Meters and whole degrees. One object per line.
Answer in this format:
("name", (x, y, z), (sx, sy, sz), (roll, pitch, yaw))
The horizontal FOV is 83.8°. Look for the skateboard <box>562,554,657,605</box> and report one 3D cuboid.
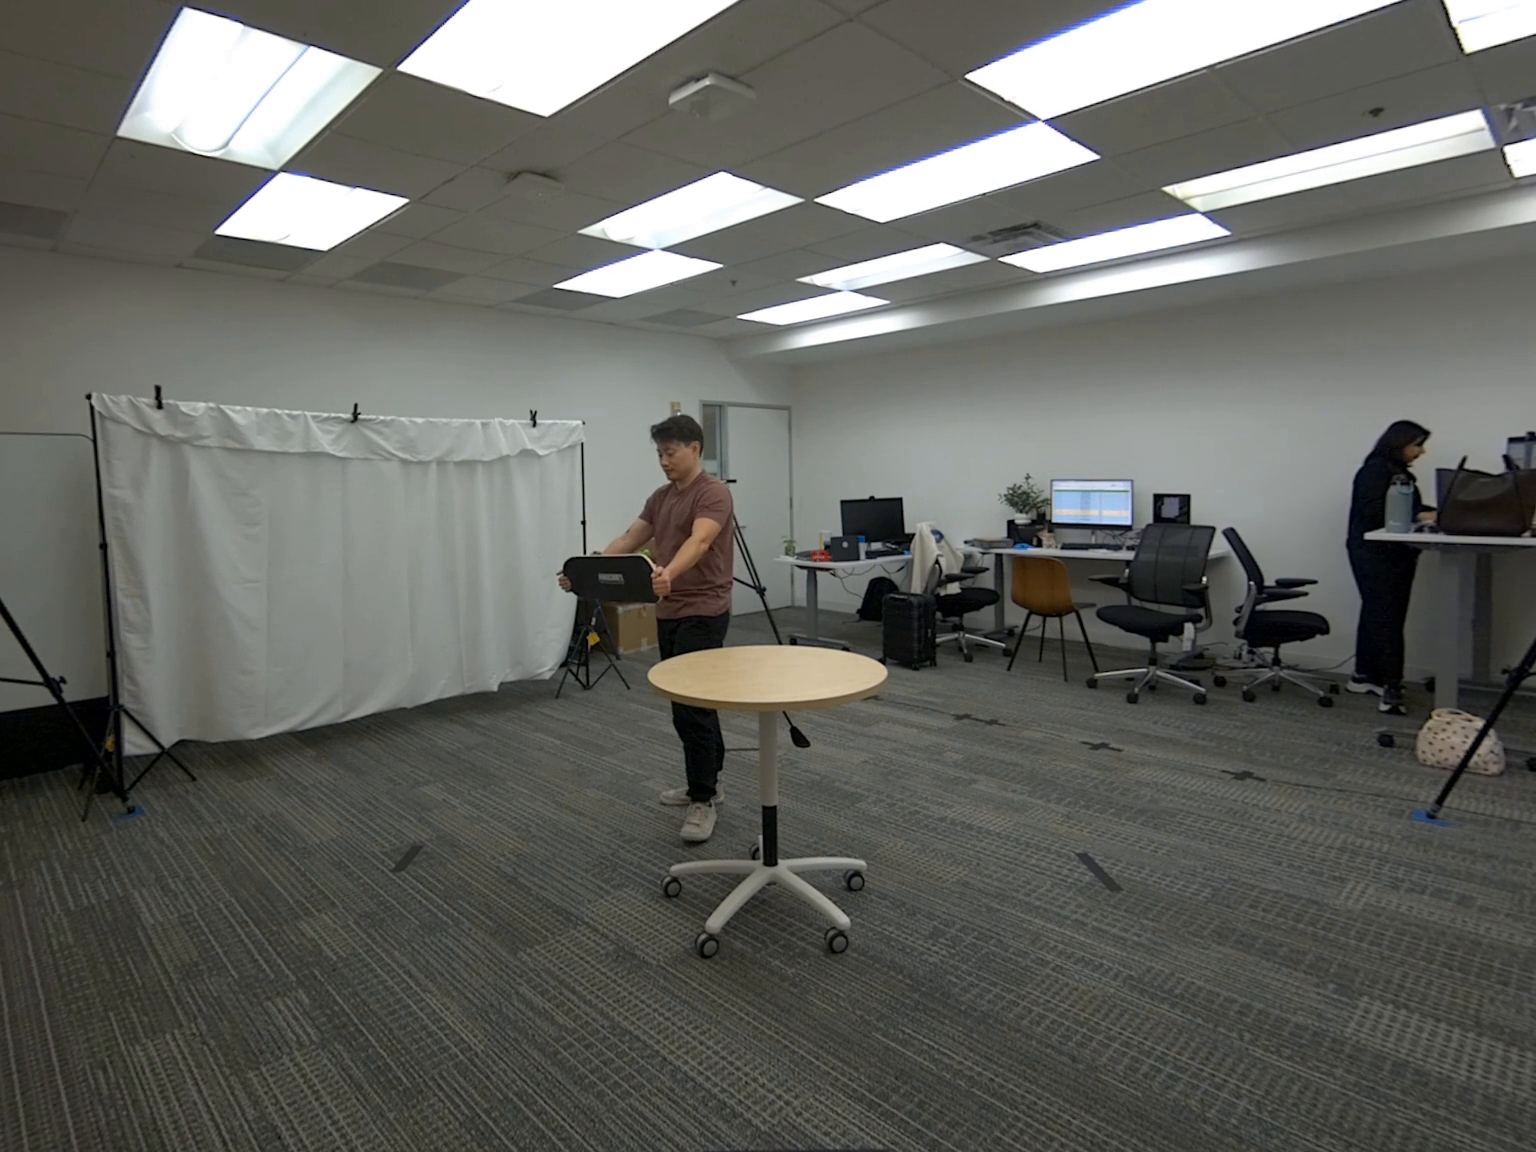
("skateboard", (-0.607, 0.003, 3.426), (0.108, 0.191, 0.807), (-19, 12, -35))
